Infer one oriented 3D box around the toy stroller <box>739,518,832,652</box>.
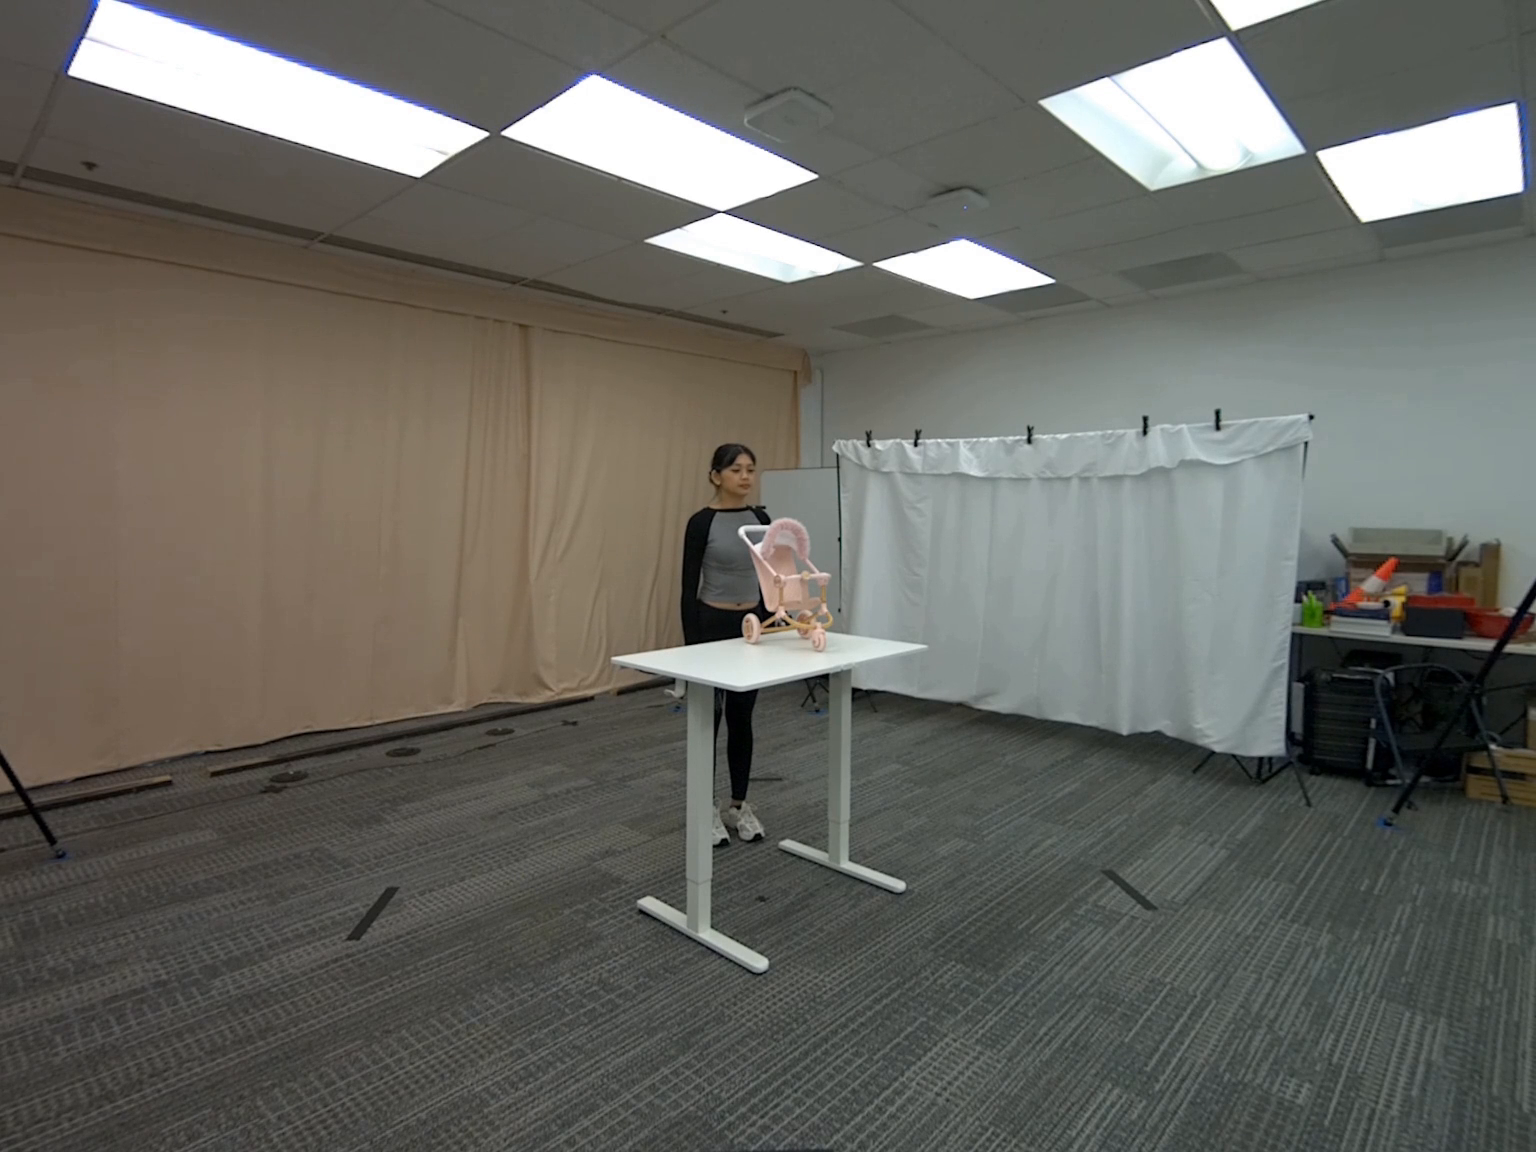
[{"bbox_3d":[0.078,0.026,3.100,0.274,0.540,0.347,-1,-13,-28],"label":"toy stroller"}]
